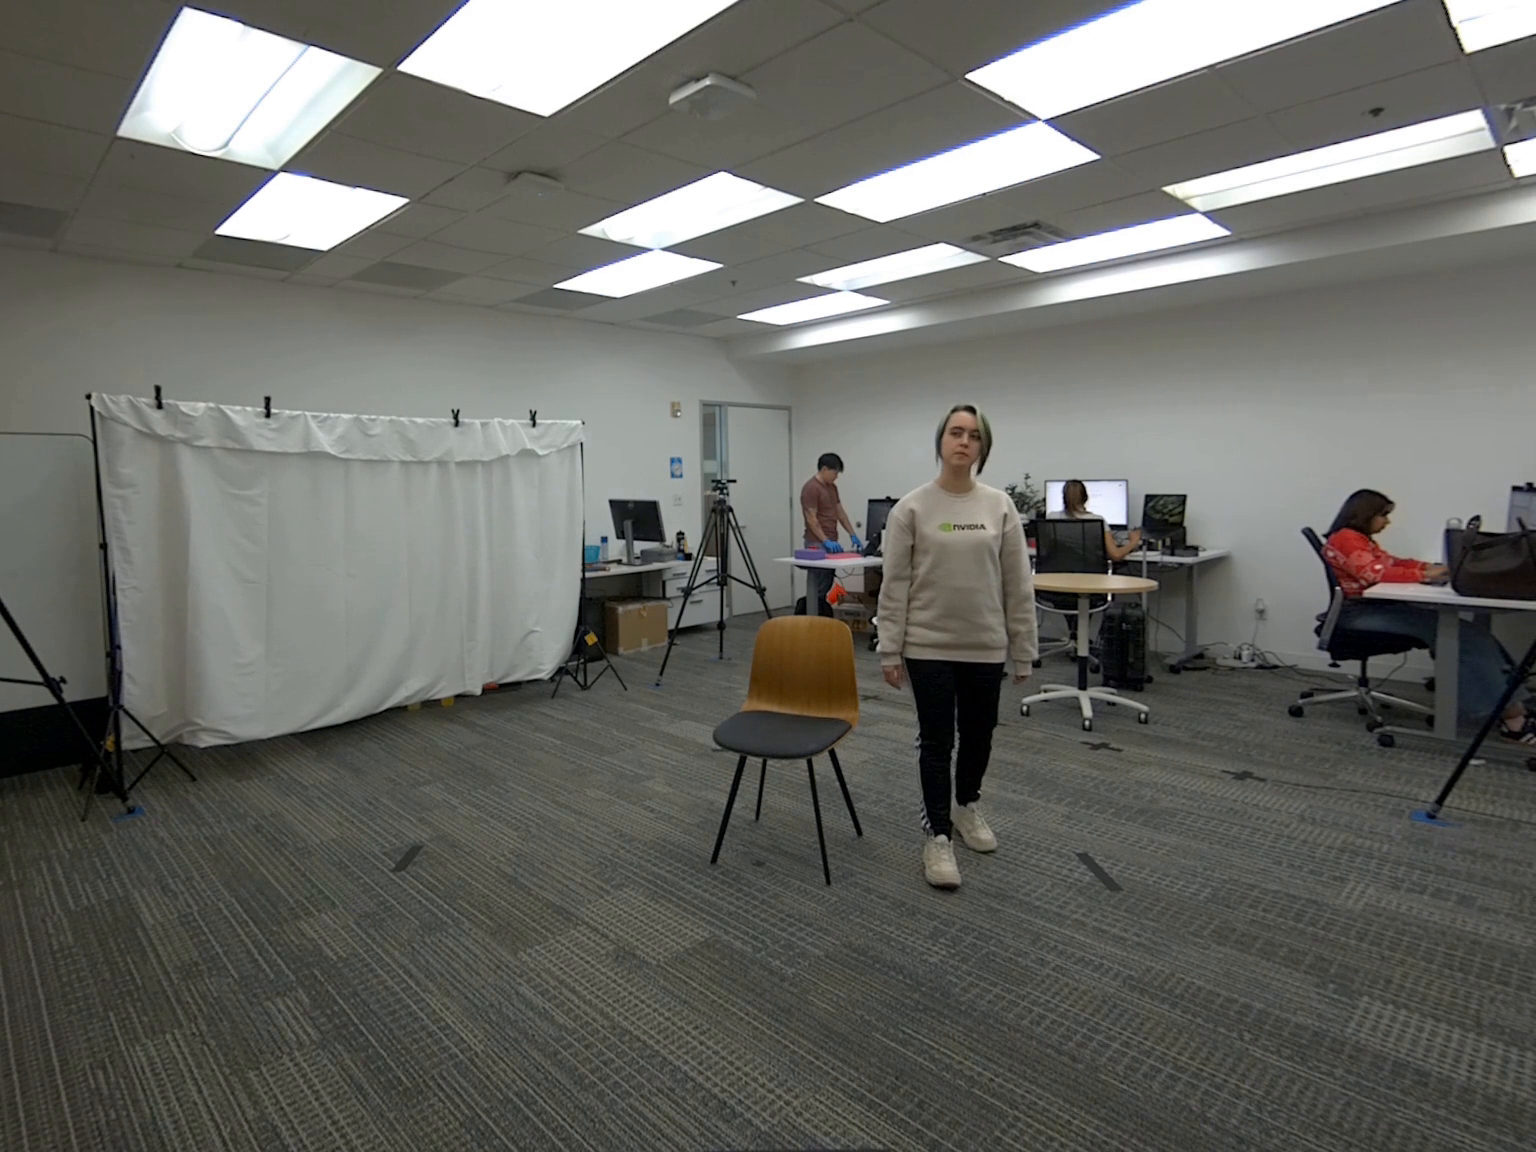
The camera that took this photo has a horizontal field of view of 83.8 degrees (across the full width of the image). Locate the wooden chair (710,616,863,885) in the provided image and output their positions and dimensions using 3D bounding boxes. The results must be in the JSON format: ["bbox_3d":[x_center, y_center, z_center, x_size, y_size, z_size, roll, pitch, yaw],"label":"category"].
[{"bbox_3d":[0.075,0.609,3.184,0.488,0.878,0.512,1,0,23],"label":"wooden chair"}]
